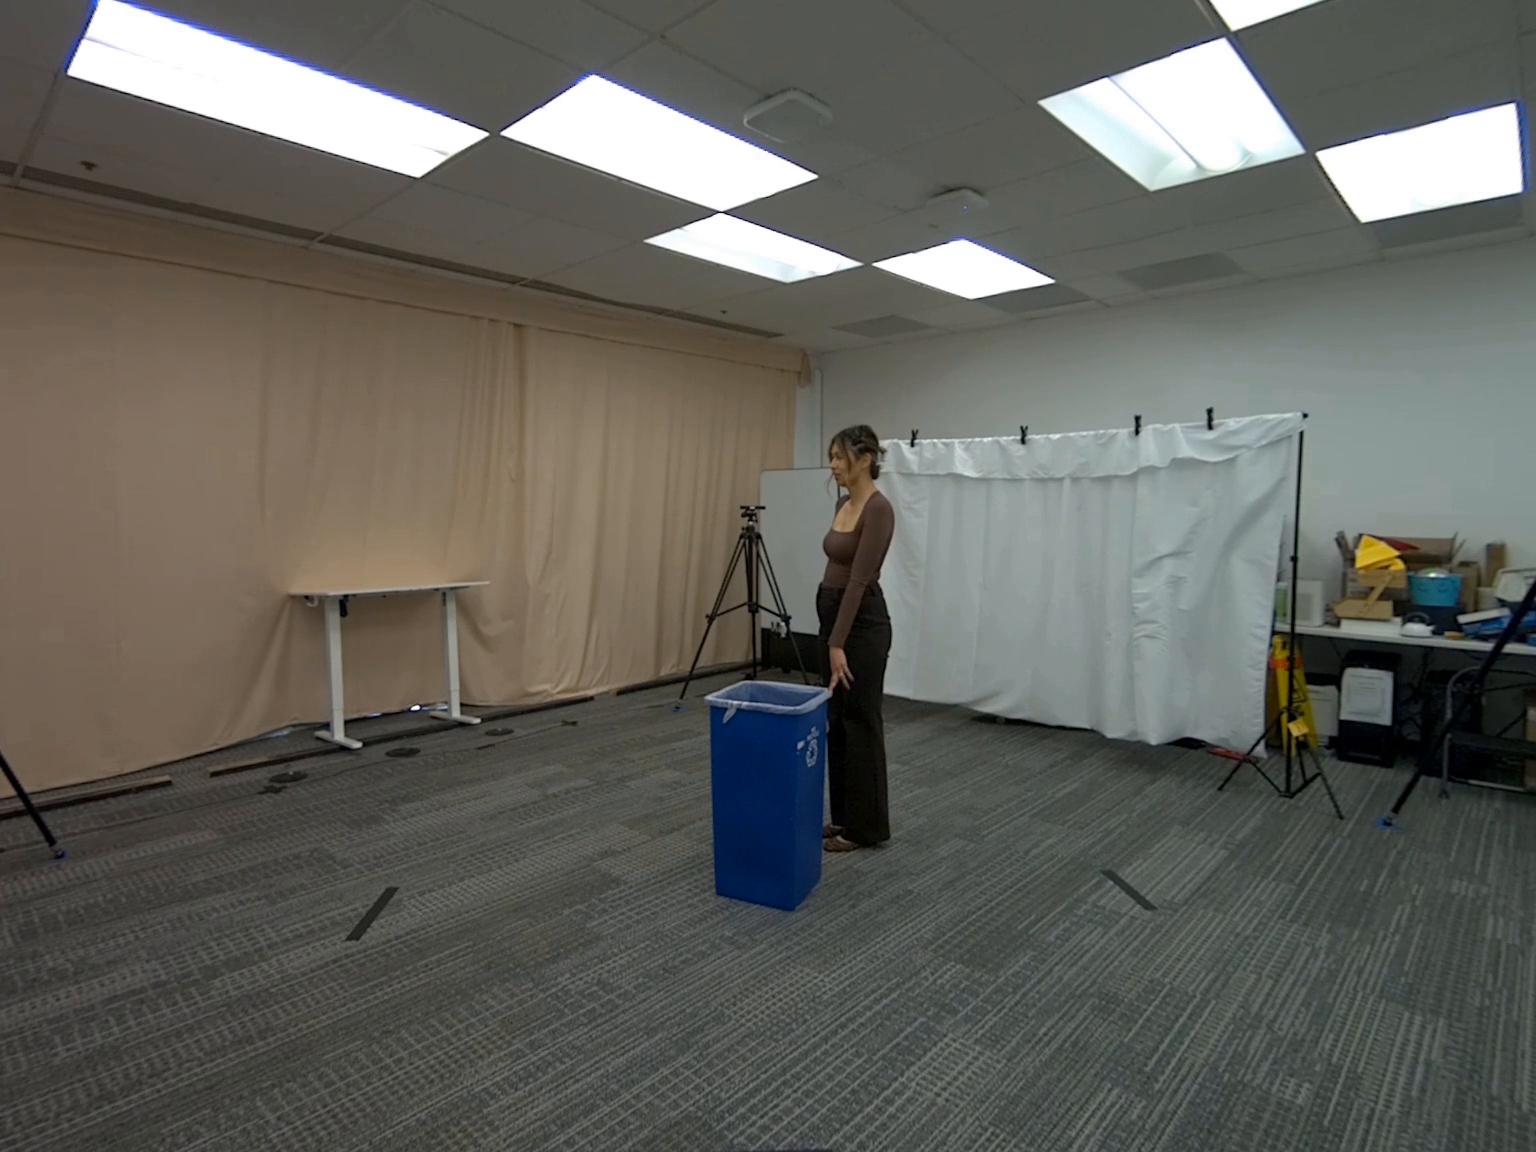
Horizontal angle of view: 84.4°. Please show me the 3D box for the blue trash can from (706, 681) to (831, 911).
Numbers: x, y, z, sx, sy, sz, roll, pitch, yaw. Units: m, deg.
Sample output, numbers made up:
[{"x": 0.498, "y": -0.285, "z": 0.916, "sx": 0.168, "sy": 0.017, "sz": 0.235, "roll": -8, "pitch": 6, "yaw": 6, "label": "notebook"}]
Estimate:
[{"x": 0.008, "y": 0.778, "z": 3.070, "sx": 0.388, "sy": 0.712, "sz": 0.365, "roll": 2, "pitch": 4, "yaw": 25, "label": "blue trash can"}]
